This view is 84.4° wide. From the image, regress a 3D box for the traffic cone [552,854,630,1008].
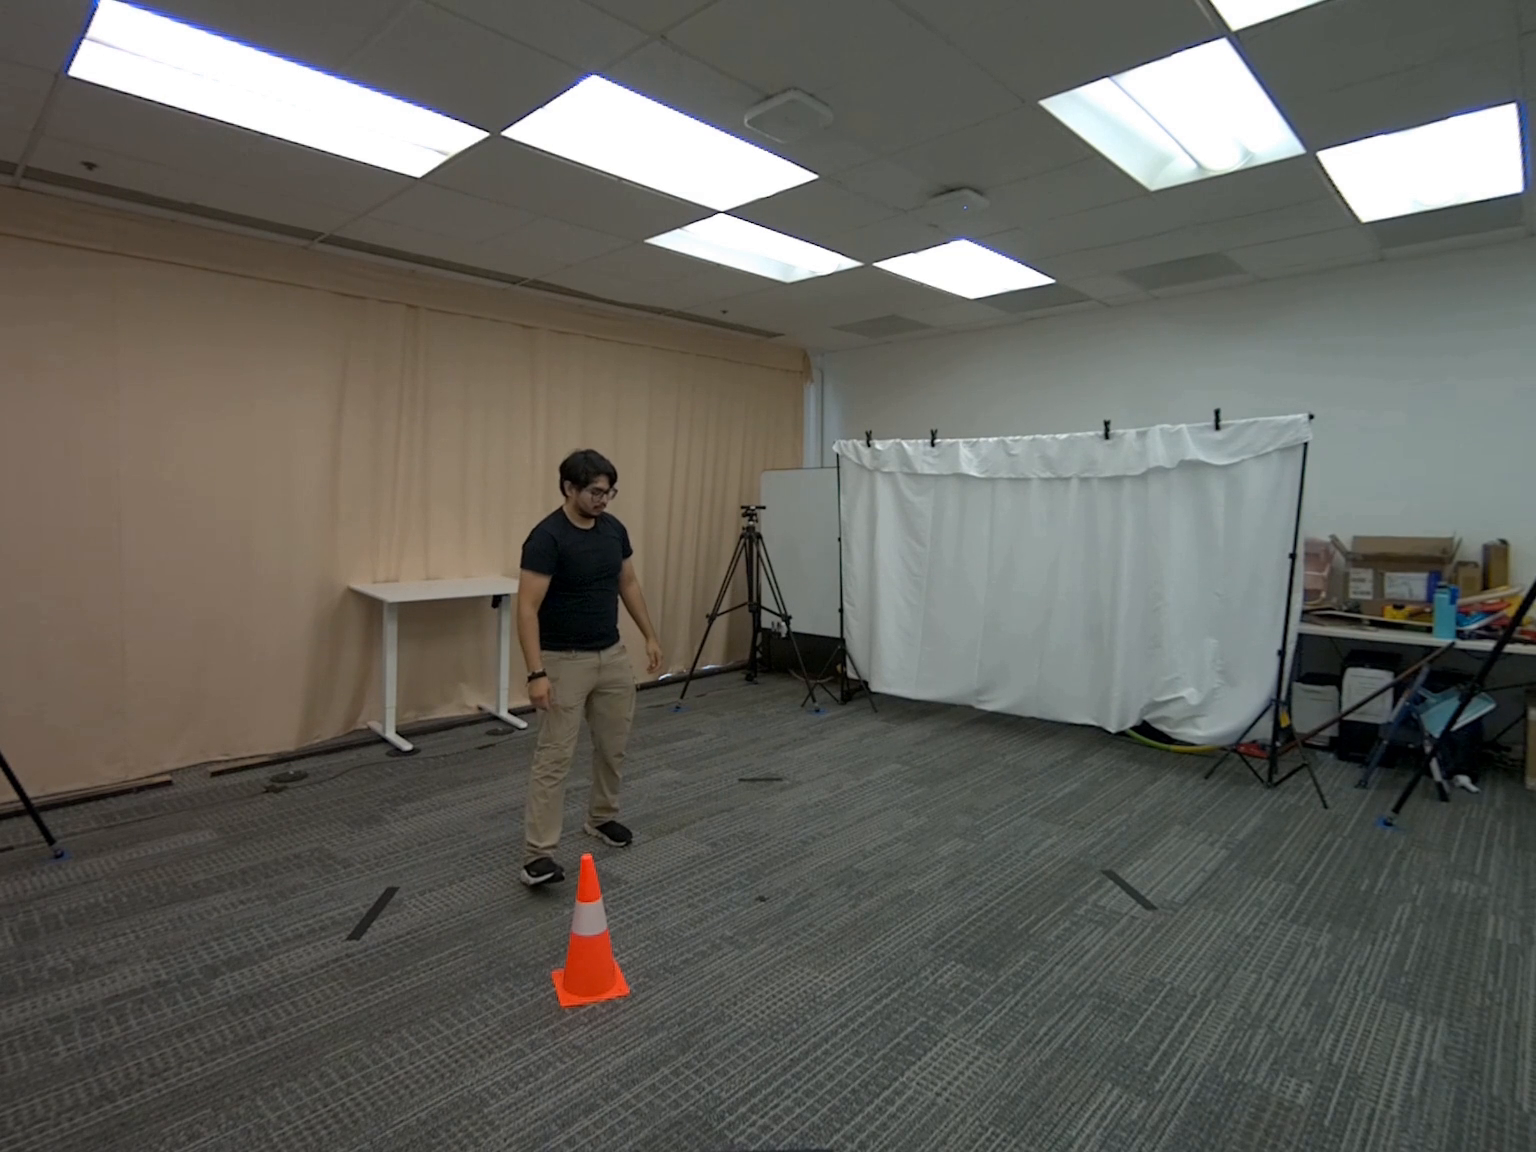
[{"bbox_3d":[-0.525,1.009,2.451,0.199,0.383,0.209,-1,2,-21],"label":"traffic cone"}]
